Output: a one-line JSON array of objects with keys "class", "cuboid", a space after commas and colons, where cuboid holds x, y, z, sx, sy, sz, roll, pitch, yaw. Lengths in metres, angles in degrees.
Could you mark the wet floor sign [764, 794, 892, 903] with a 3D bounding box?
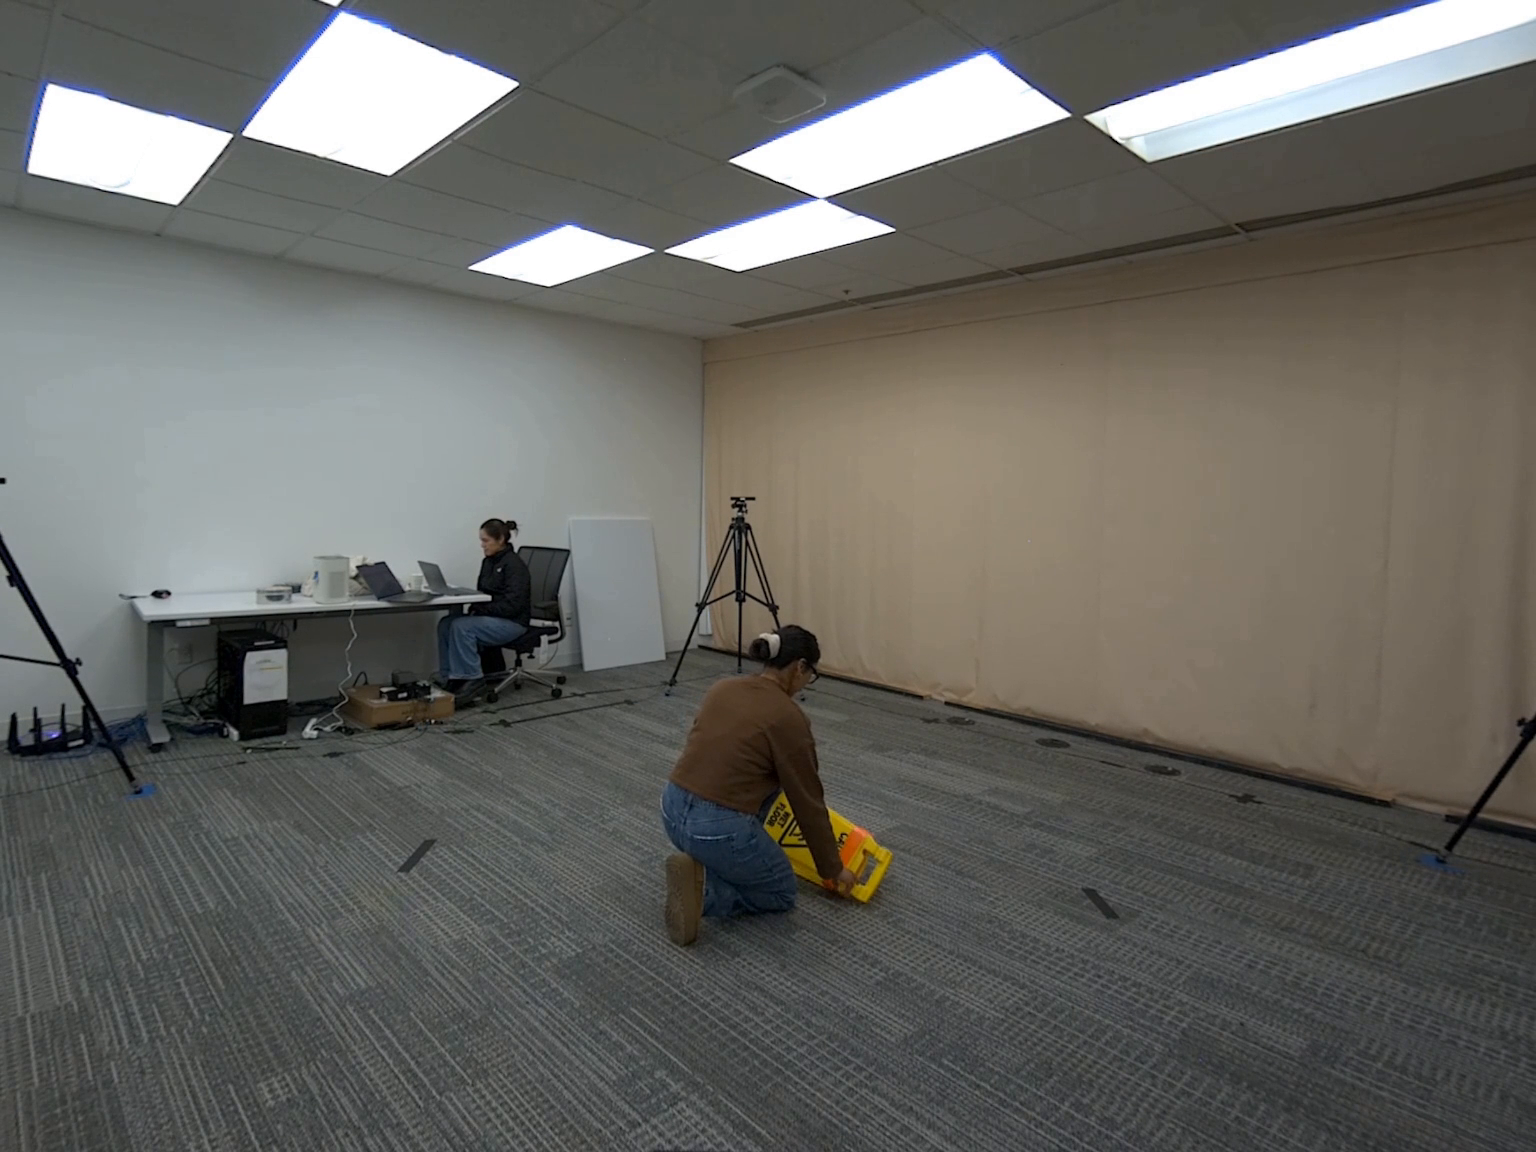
[{"class": "wet floor sign", "cuboid": [0.140, 0.977, 3.127, 0.665, 0.283, 0.281, 18, -30, 40]}]
